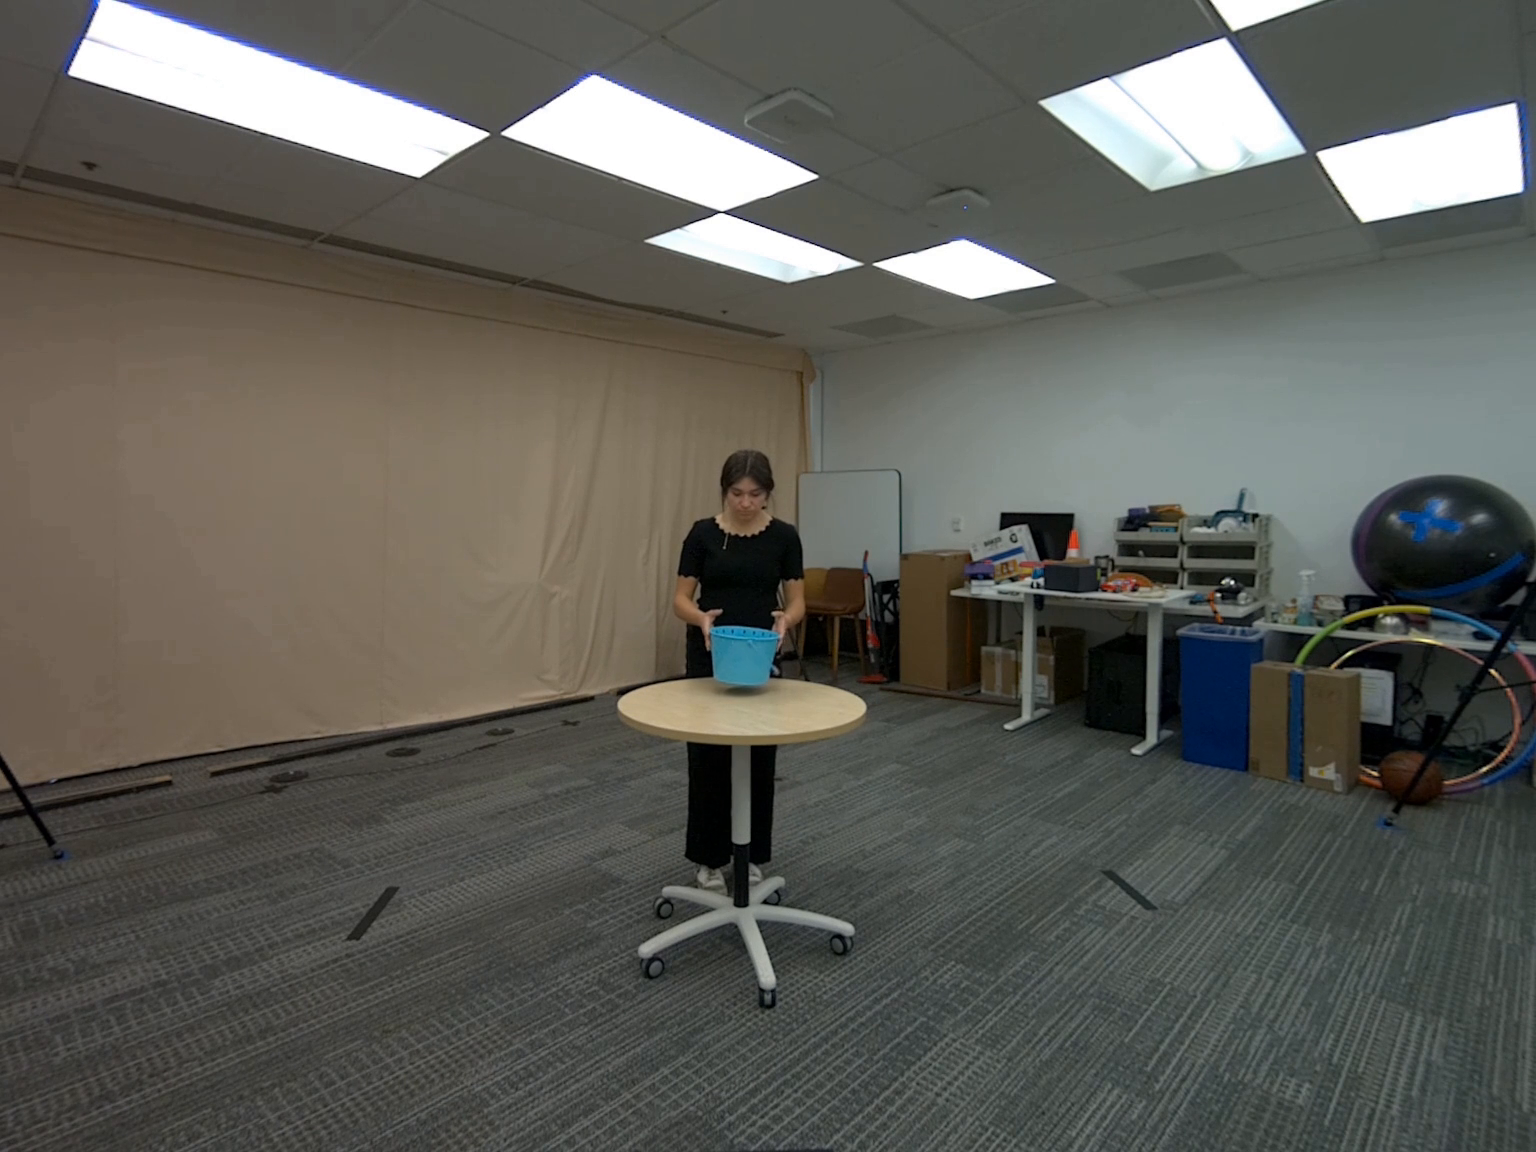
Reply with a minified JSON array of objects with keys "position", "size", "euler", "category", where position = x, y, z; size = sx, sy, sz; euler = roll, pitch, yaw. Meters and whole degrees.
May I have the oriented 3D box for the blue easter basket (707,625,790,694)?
[{"position":[-0.069,0.263,2.744],"size":[0.243,0.155,0.245],"euler":[4,6,-2],"category":"blue easter basket"}]
